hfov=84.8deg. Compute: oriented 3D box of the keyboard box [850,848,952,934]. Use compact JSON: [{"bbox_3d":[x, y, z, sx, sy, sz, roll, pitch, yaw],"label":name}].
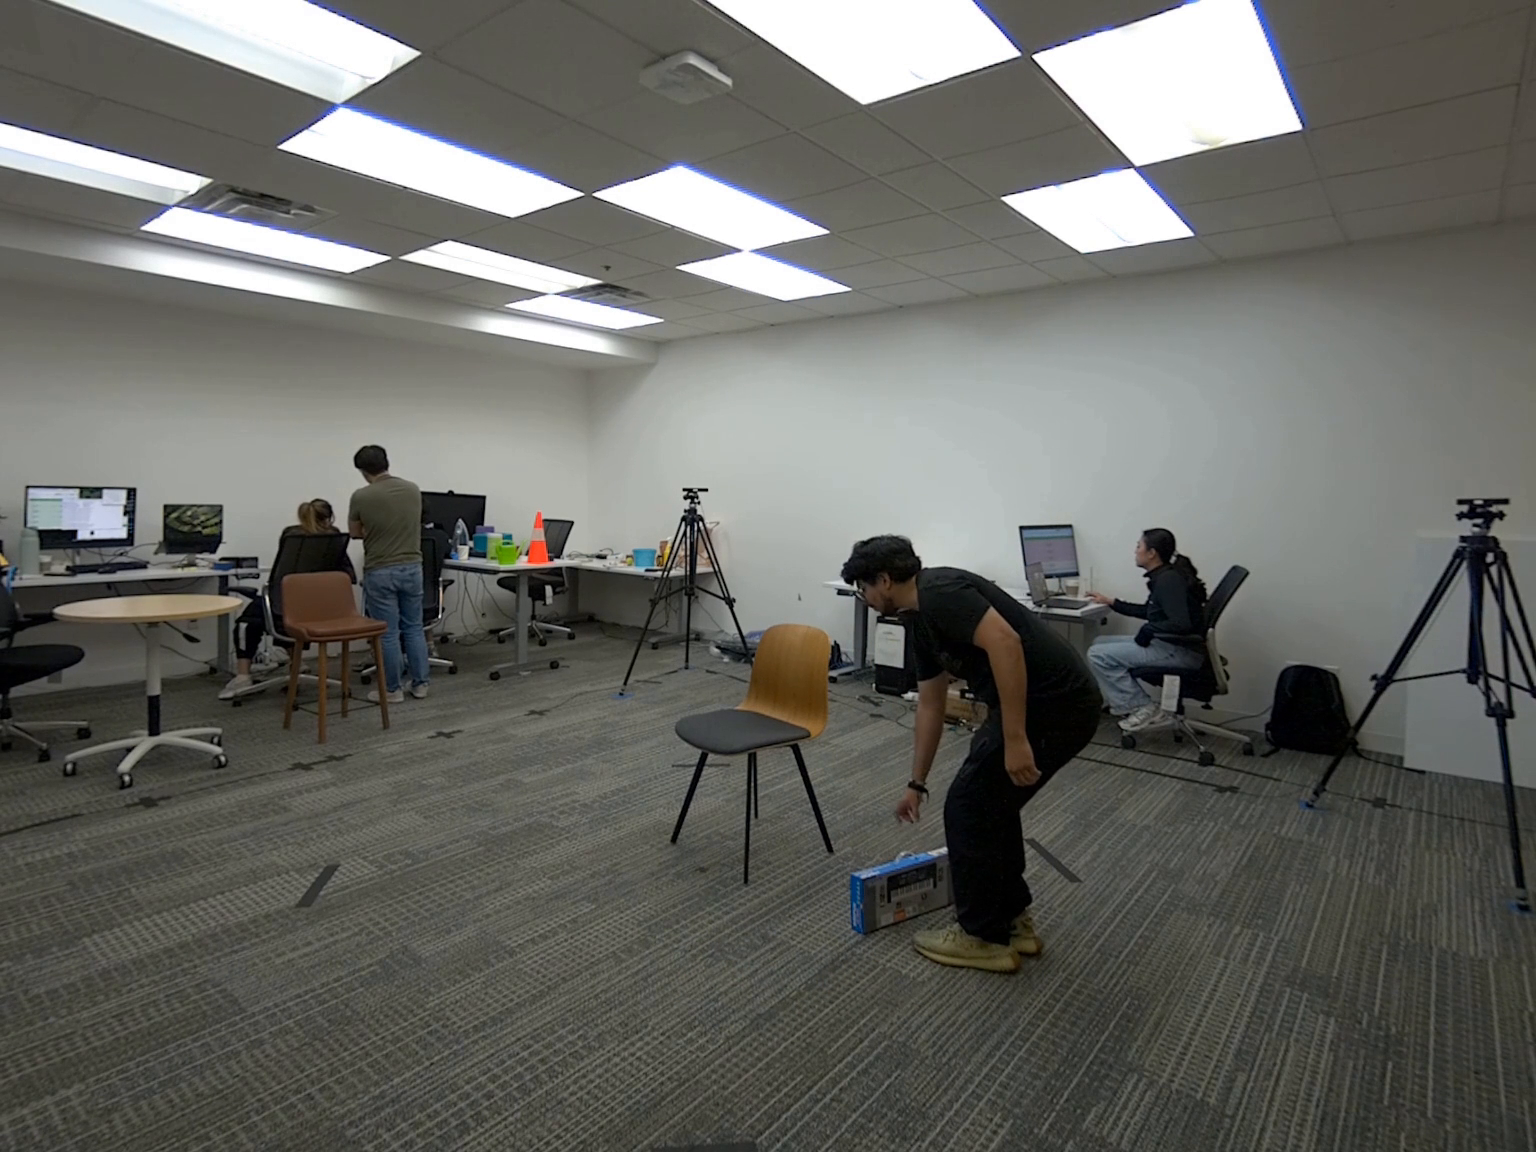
[{"bbox_3d":[0.456,1.032,2.807,0.424,0.176,0.061,-2,1,-34],"label":"keyboard box"}]
